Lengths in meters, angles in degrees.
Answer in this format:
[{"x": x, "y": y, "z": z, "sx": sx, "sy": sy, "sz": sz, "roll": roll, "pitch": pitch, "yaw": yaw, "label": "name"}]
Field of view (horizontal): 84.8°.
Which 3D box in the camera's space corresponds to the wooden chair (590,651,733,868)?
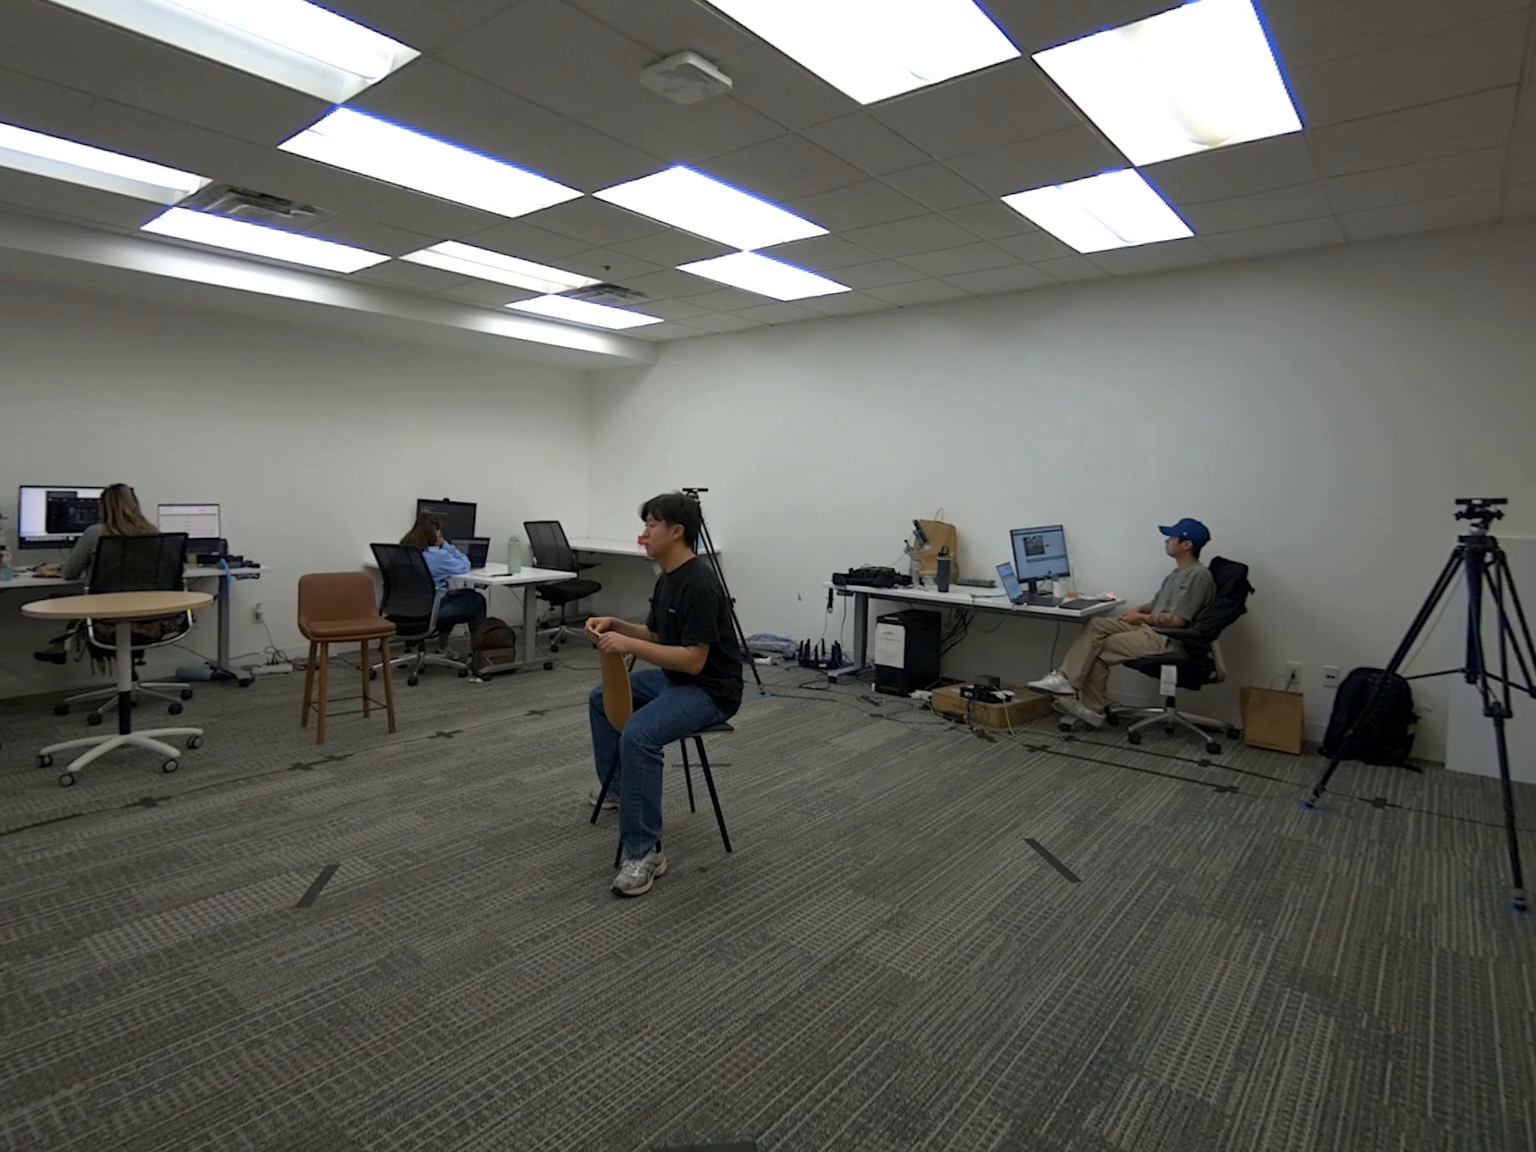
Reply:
[{"x": -0.429, "y": 0.615, "z": 3.368, "sx": 0.513, "sy": 0.874, "sz": 0.489, "roll": -4, "pitch": 4, "yaw": -21, "label": "wooden chair"}]
